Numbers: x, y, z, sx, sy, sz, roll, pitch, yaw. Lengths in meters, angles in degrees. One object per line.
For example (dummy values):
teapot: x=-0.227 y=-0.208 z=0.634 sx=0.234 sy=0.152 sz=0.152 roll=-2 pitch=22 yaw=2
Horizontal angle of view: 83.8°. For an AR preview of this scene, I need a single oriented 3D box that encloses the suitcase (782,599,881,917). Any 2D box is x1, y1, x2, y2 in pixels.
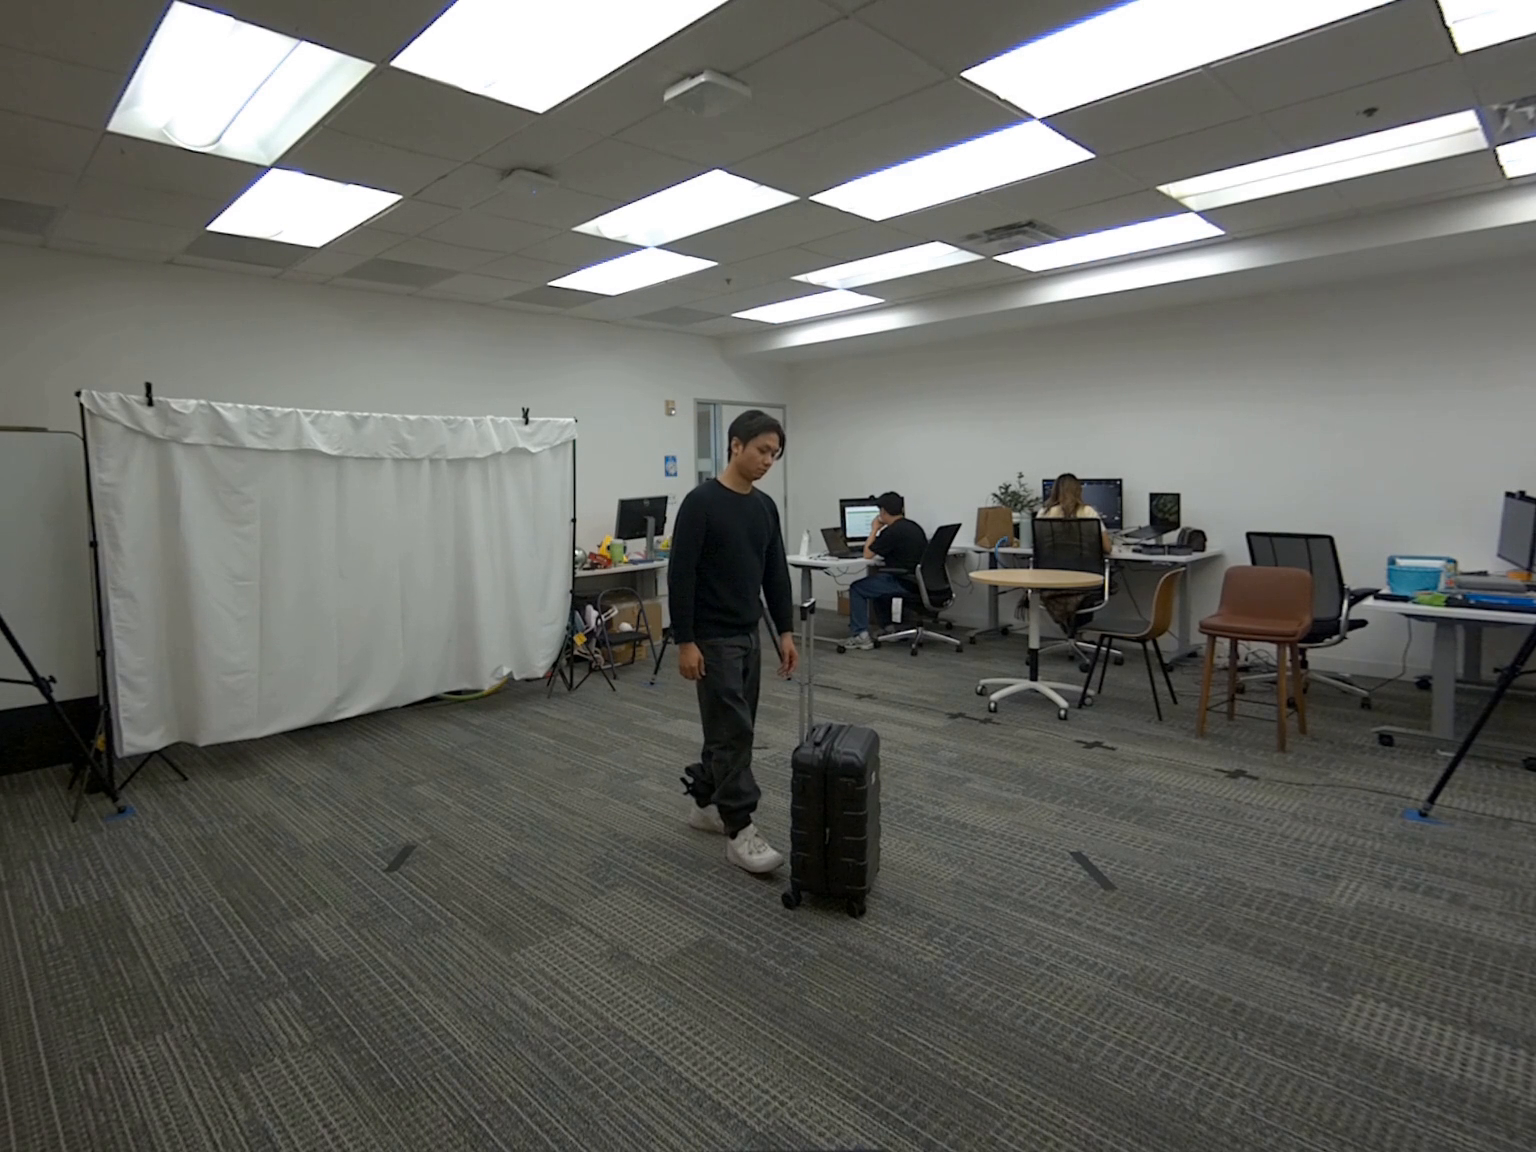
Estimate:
suitcase: x=0.241 y=0.588 z=2.840 sx=0.261 sy=0.974 sz=0.380 roll=2 pitch=5 yaw=14
